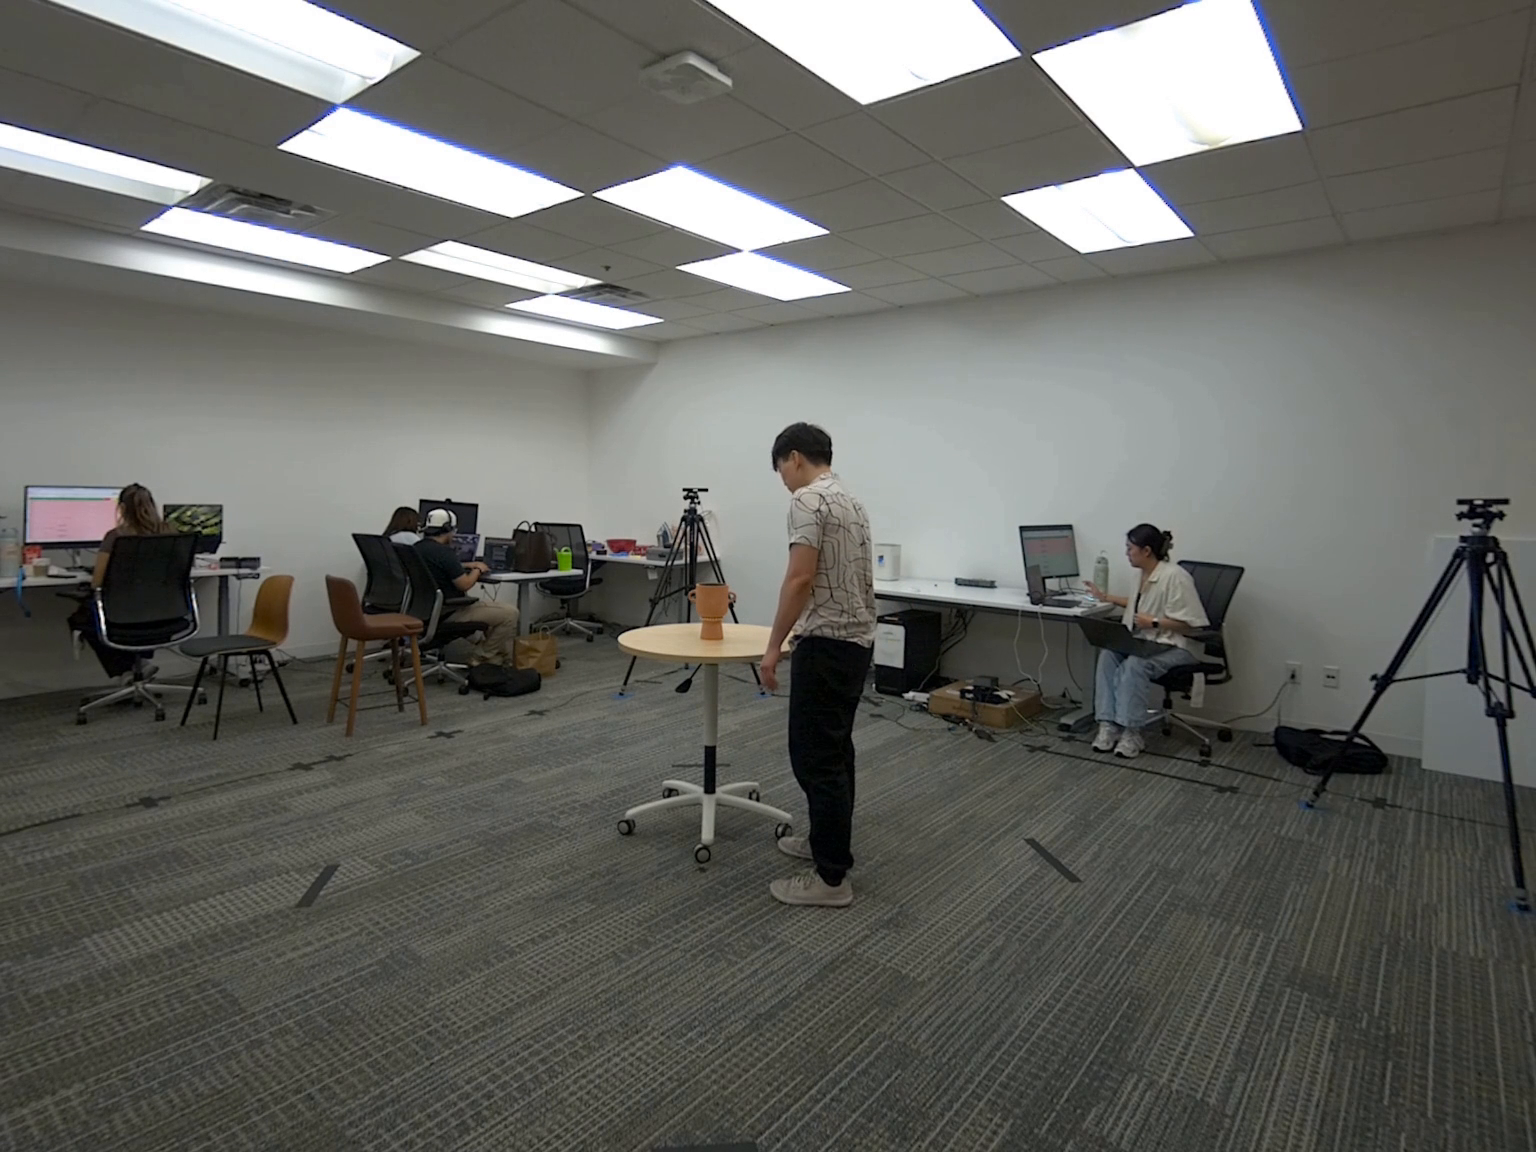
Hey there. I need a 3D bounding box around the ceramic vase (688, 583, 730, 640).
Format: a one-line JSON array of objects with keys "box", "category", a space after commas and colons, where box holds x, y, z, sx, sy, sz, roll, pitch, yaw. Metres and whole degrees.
[{"box": [-0.241, 0.142, 3.481, 0.130, 0.219, 0.164, -3, 6, -44], "category": "ceramic vase"}]
